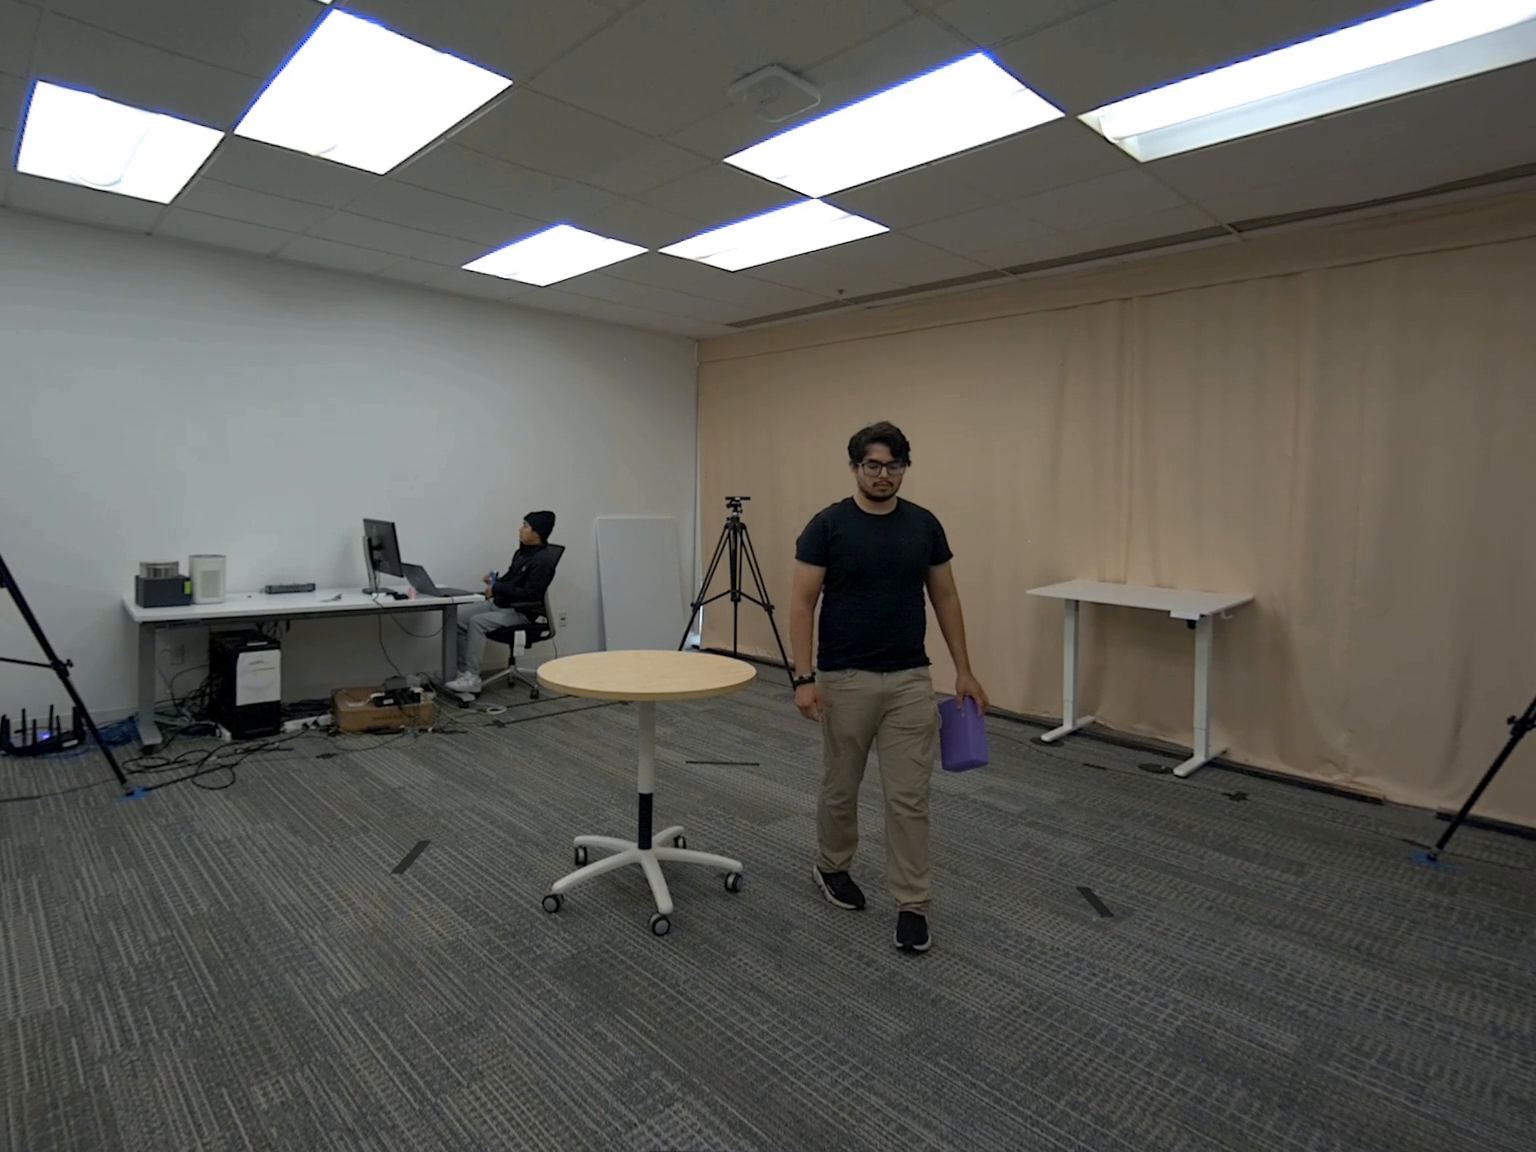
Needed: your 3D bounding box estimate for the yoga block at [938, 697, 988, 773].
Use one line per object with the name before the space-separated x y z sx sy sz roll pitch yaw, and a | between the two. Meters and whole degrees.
yoga block | 0.629 0.514 2.752 0.075 0.233 0.150 16 -30 -27
